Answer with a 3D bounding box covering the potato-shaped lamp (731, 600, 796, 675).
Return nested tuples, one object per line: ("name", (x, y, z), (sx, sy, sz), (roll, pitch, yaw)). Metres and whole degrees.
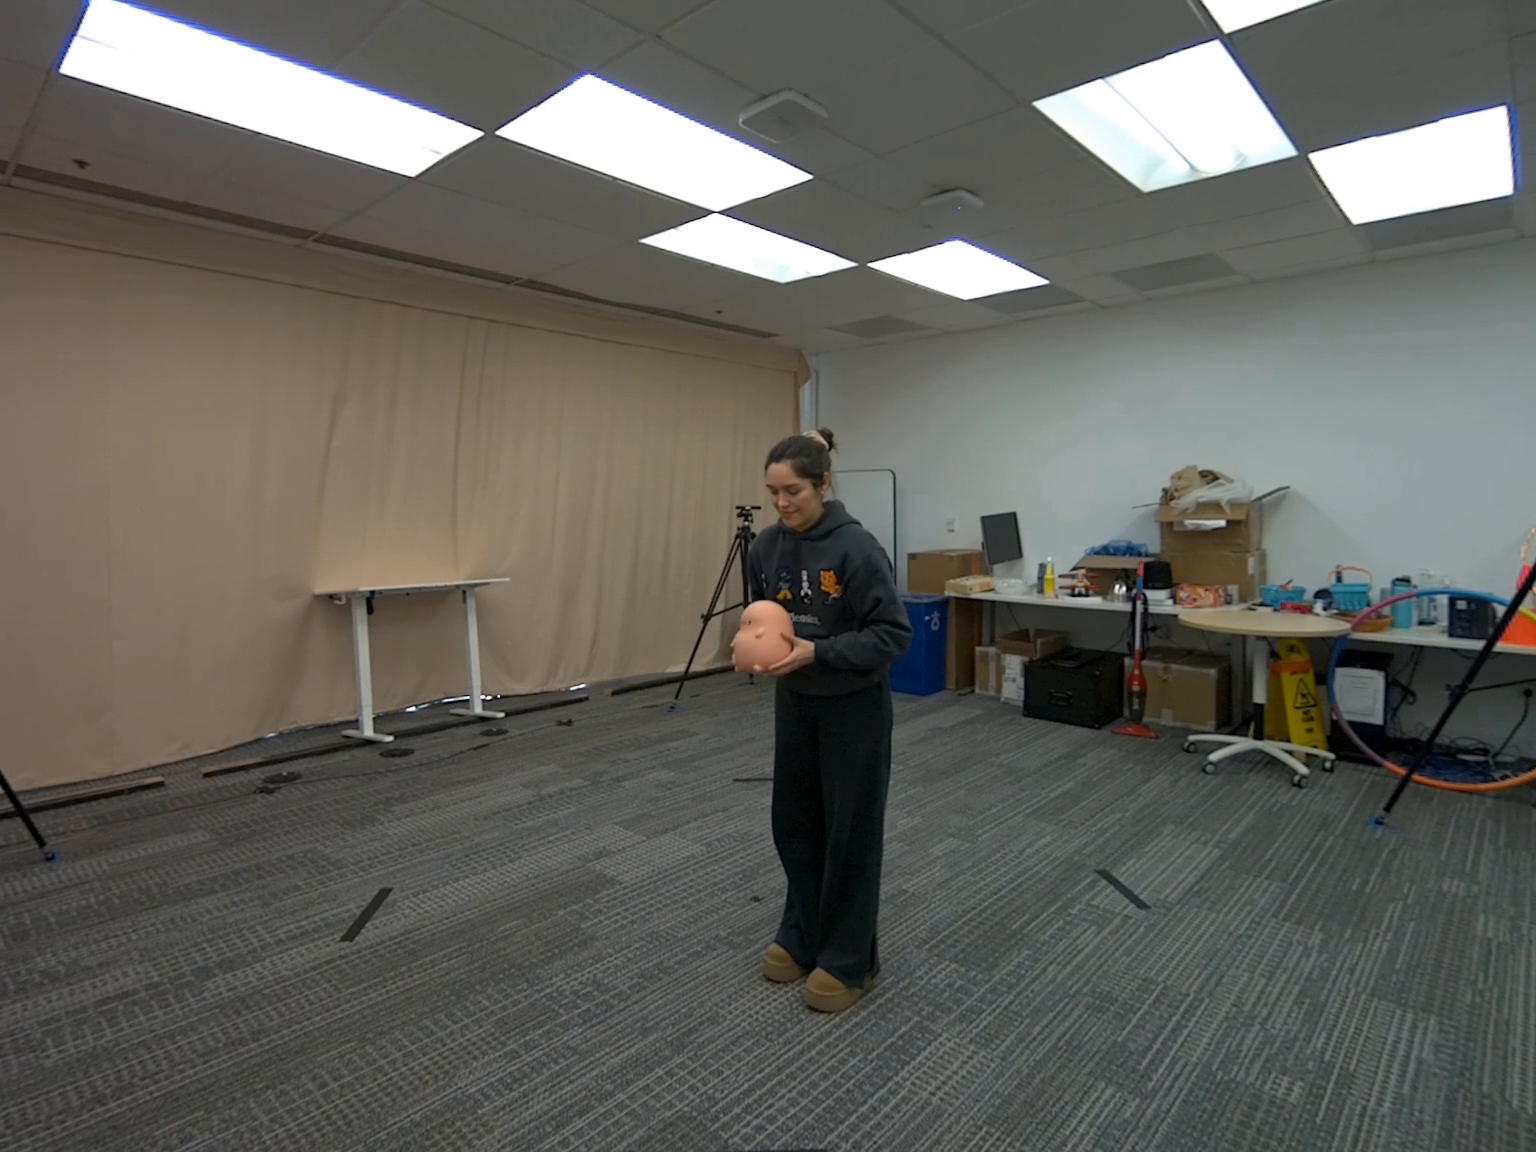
("potato-shaped lamp", (0.008, 0.187, 2.330), (0.173, 0.203, 0.160), (-16, -39, 8))
